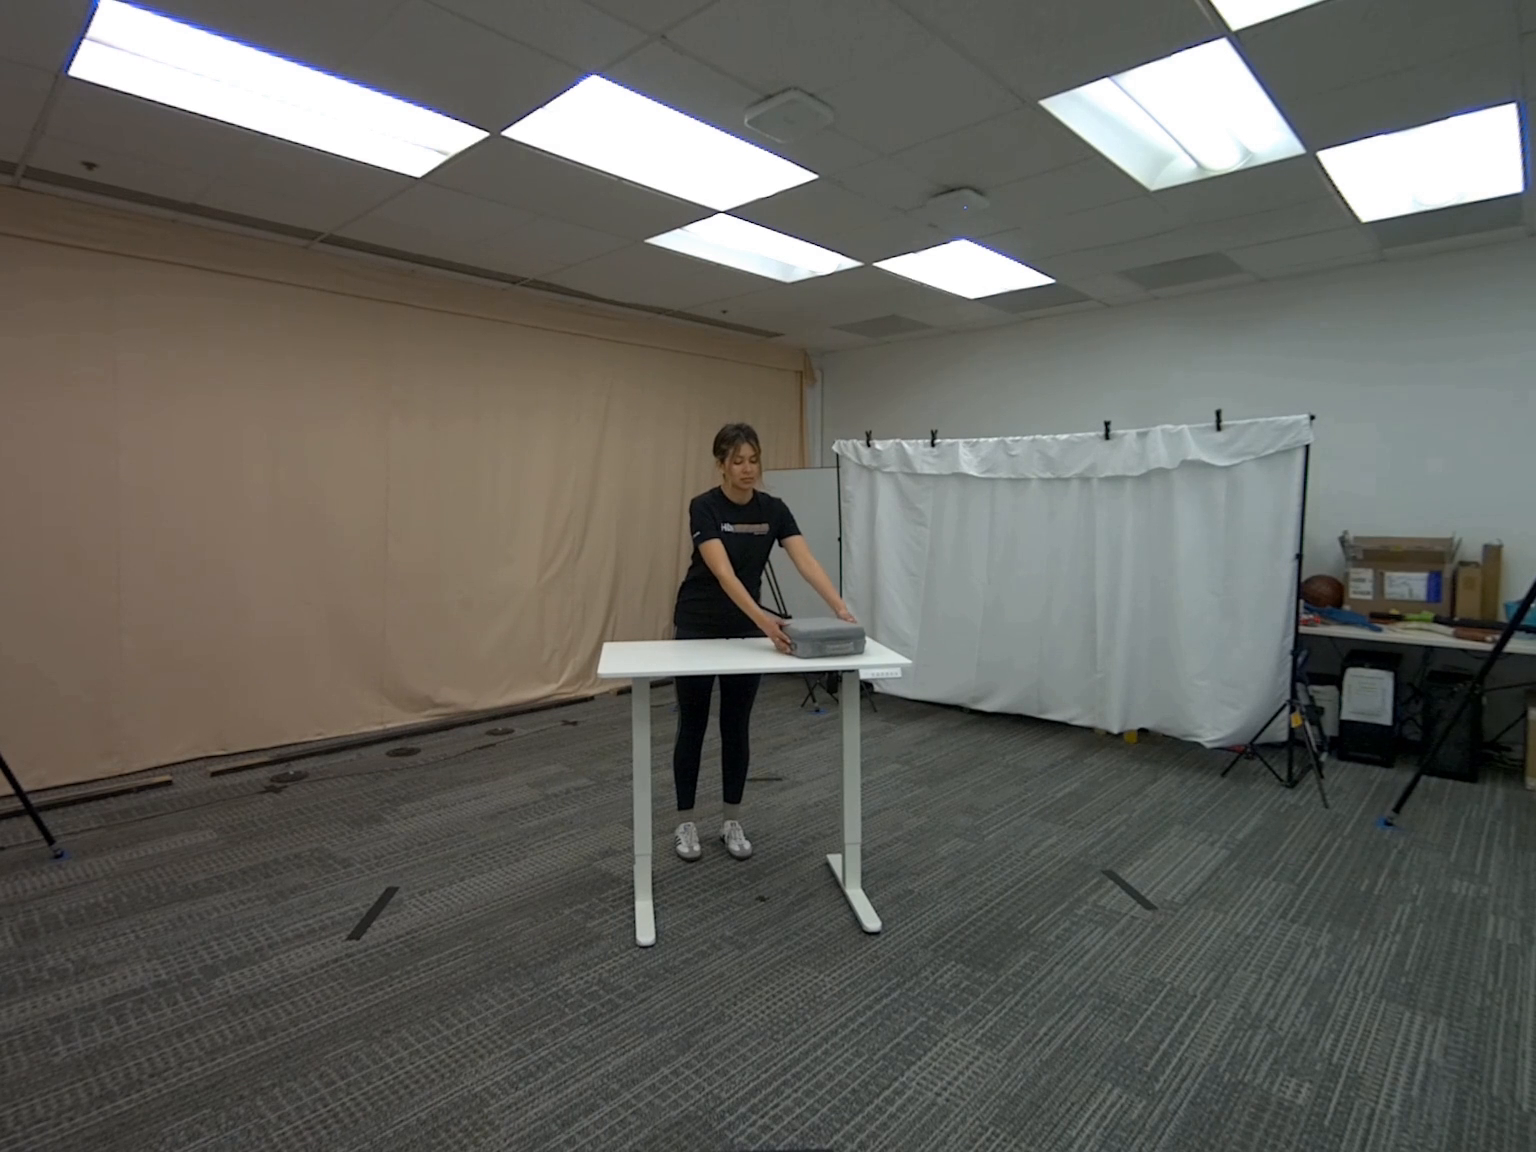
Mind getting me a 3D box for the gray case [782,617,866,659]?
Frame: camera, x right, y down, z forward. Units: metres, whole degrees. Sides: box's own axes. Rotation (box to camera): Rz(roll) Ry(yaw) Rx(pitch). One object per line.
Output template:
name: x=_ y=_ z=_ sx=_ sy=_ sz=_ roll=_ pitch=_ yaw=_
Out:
gray case: x=0.183 y=0.213 z=2.913 sx=0.252 sy=0.104 sz=0.266 roll=-2 pitch=5 yaw=-18
